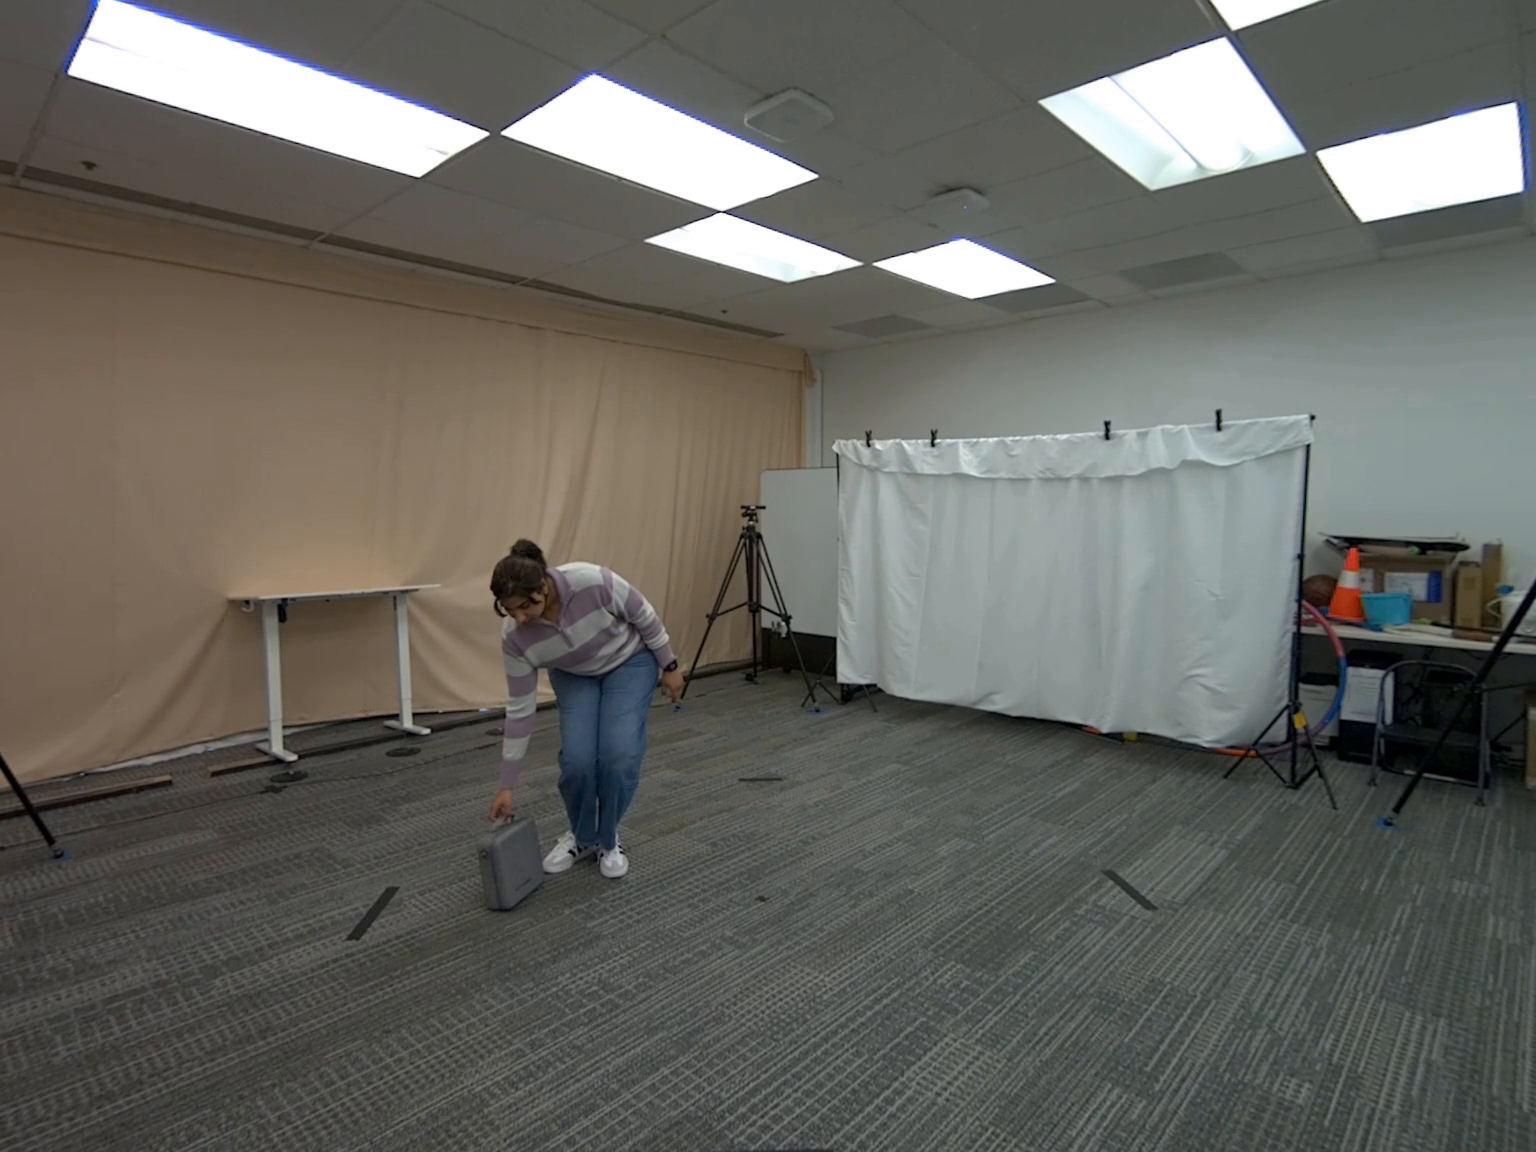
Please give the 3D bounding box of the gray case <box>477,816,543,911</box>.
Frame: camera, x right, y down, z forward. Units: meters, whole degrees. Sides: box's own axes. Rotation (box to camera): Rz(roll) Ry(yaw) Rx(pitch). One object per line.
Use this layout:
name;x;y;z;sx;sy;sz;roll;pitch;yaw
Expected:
gray case;-0.916;1.014;3.002;0.106;0.261;0.252;-6;0;17
